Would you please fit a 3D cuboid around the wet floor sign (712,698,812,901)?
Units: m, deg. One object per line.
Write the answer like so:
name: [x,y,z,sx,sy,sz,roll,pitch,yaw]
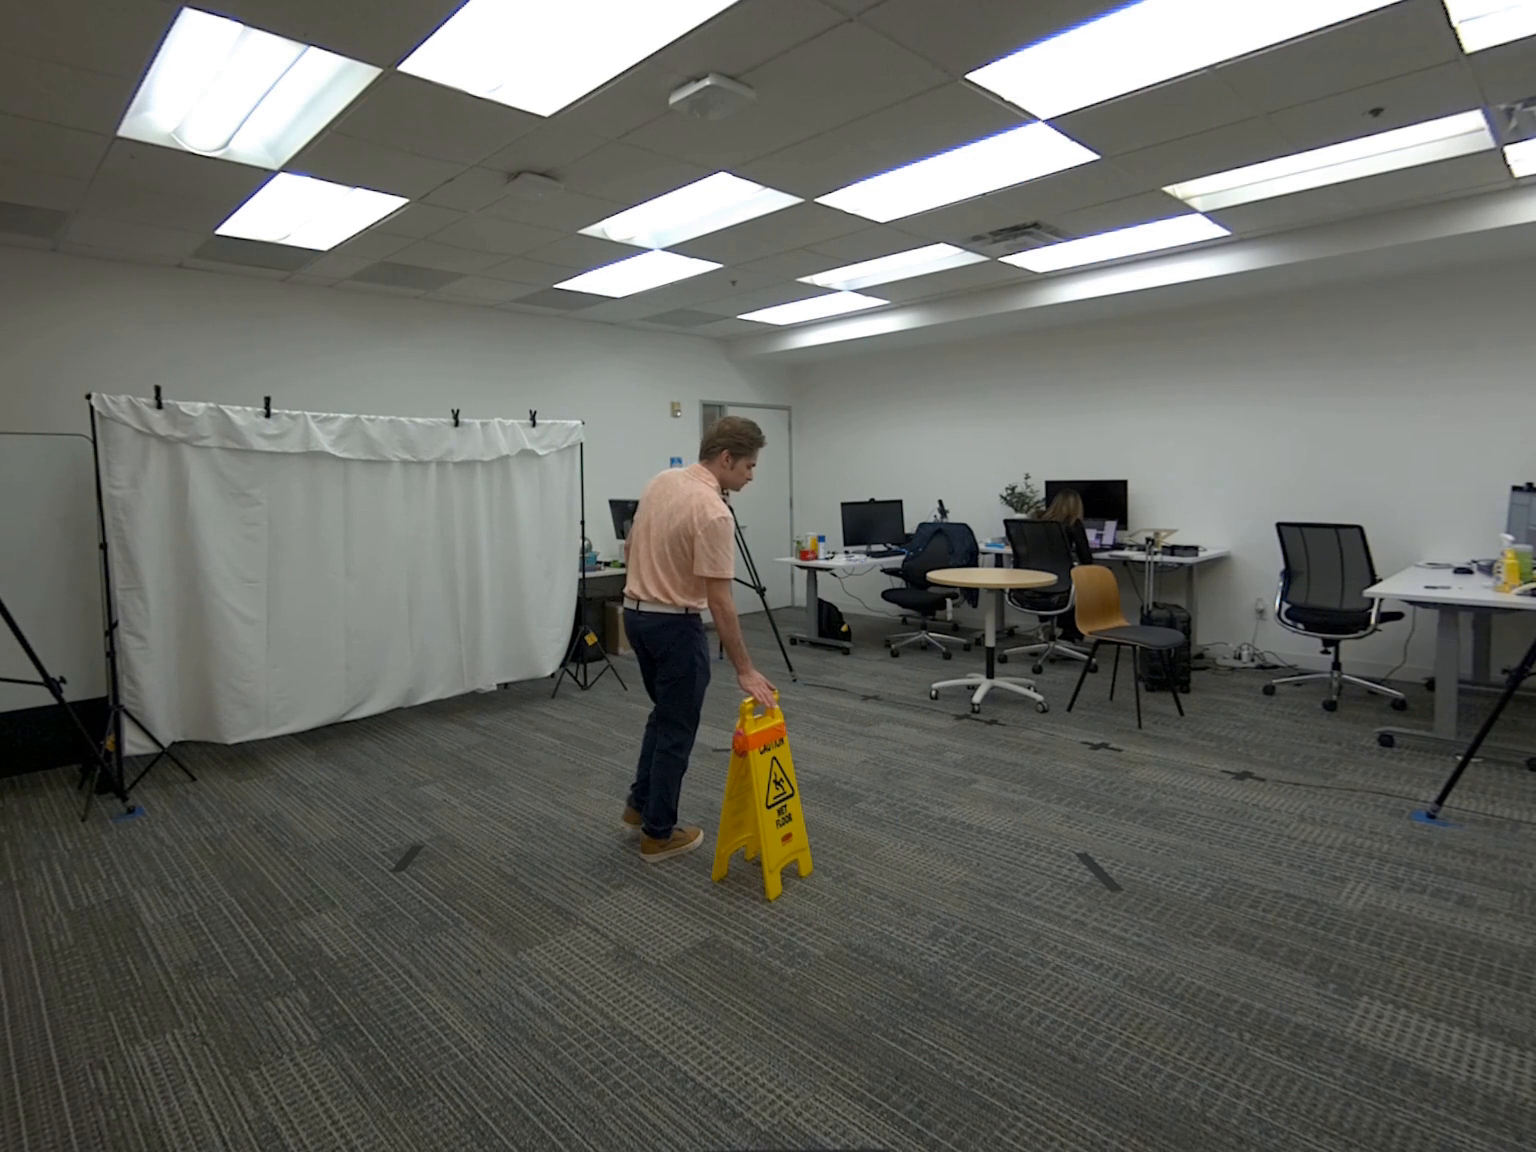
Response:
wet floor sign: [-0.027,0.735,2.995,0.298,0.644,0.275,1,4,35]
